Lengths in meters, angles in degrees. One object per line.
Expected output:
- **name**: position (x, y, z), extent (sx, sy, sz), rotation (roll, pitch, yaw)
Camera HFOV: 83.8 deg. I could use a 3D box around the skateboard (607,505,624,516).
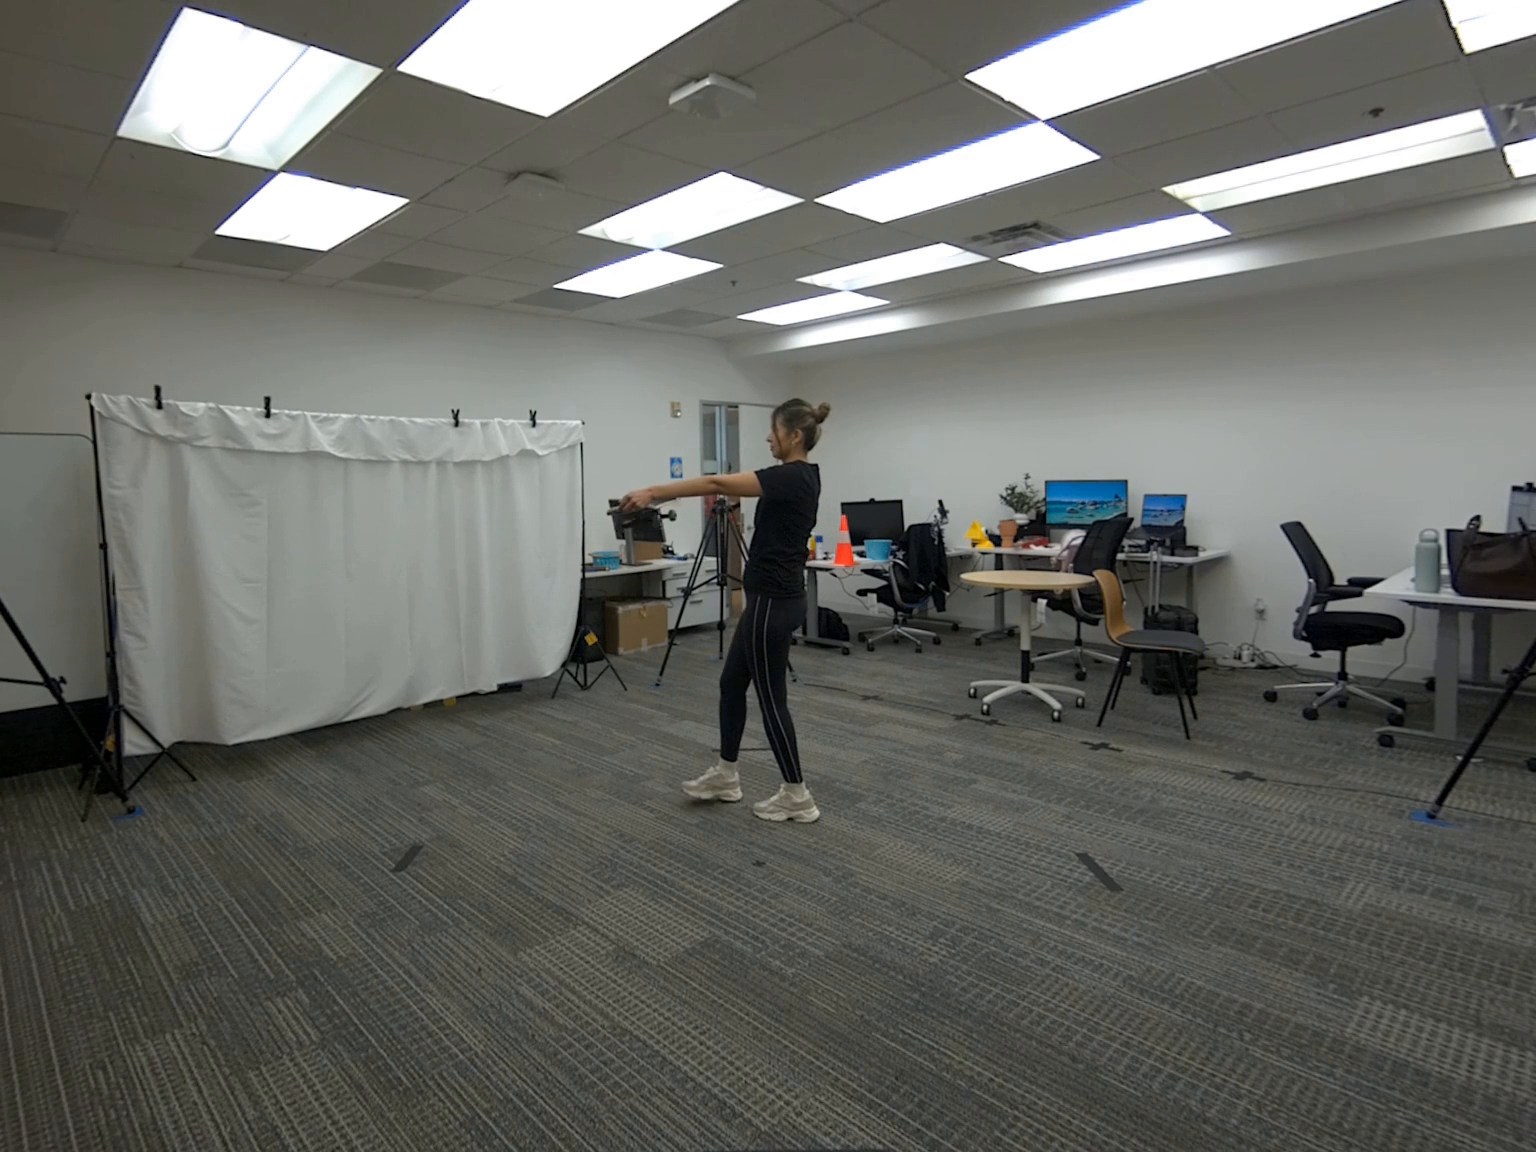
- **skateboard**: position (-0.505, -0.259, 3.541), extent (0.194, 0.109, 0.789), rotation (-10, 8, 1)
